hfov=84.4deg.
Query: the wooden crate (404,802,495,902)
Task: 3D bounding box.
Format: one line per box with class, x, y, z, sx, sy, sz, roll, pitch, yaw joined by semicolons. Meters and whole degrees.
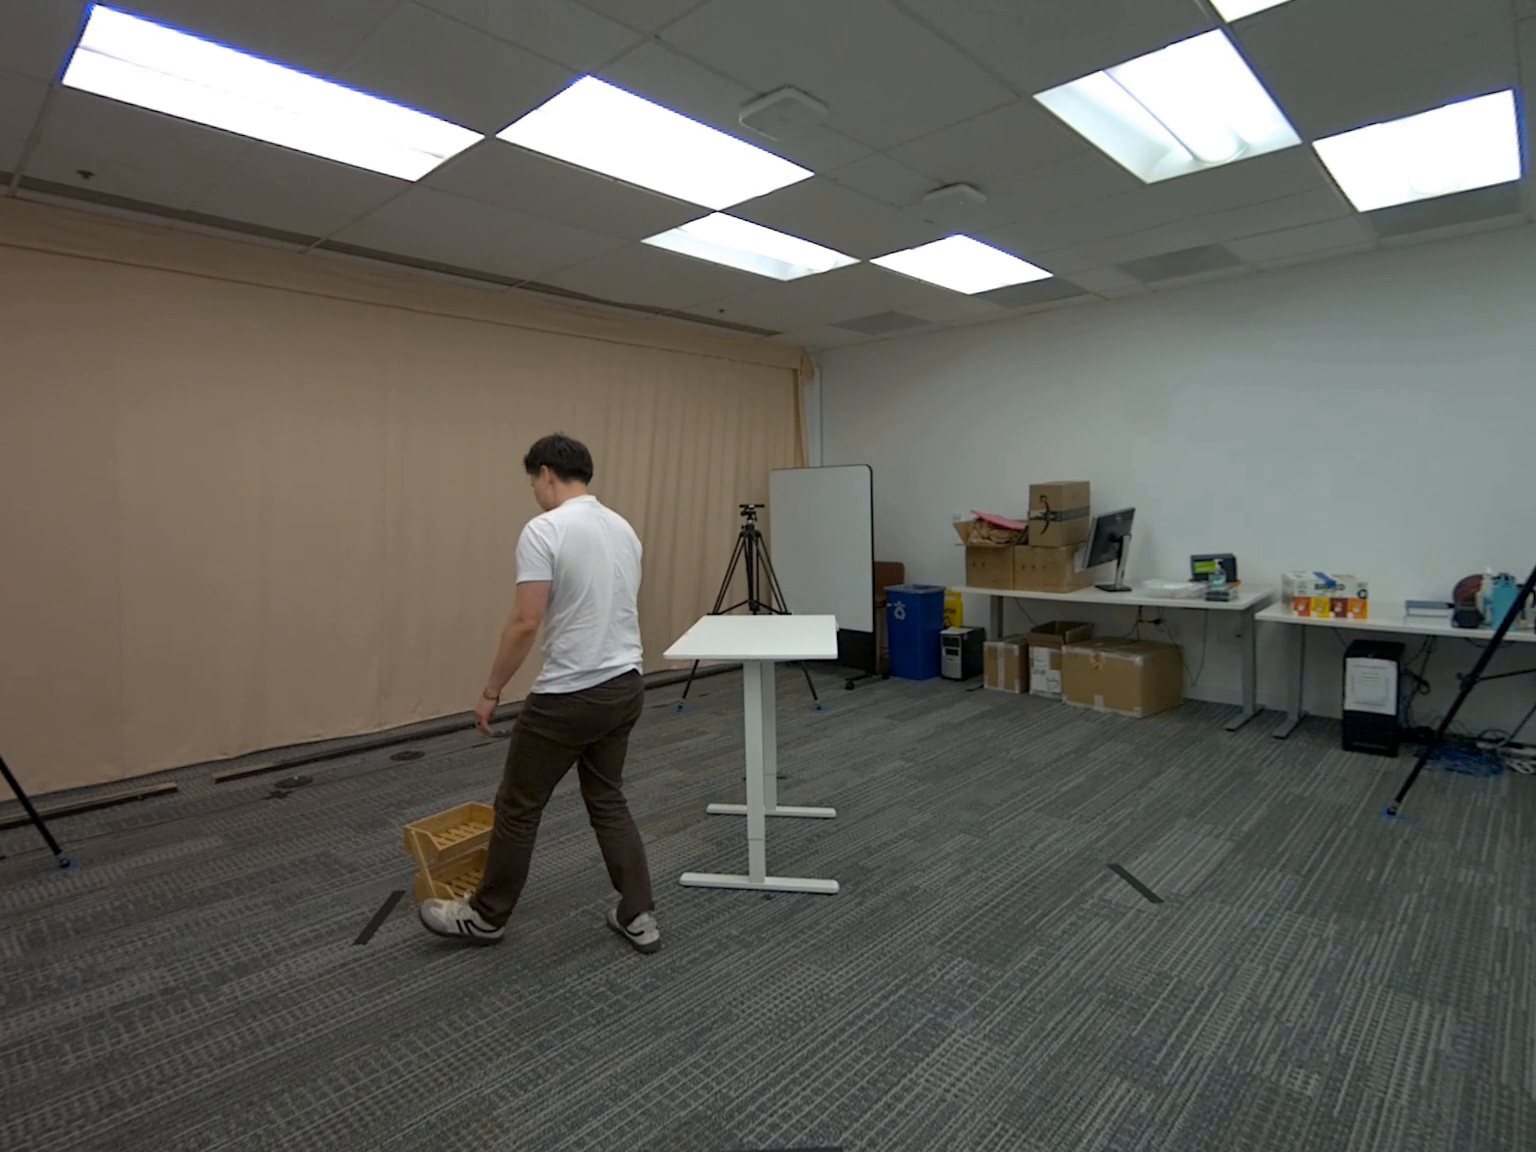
wooden crate;-1.107;1.020;3.086;0.311;0.273;0.315;0;4;34
